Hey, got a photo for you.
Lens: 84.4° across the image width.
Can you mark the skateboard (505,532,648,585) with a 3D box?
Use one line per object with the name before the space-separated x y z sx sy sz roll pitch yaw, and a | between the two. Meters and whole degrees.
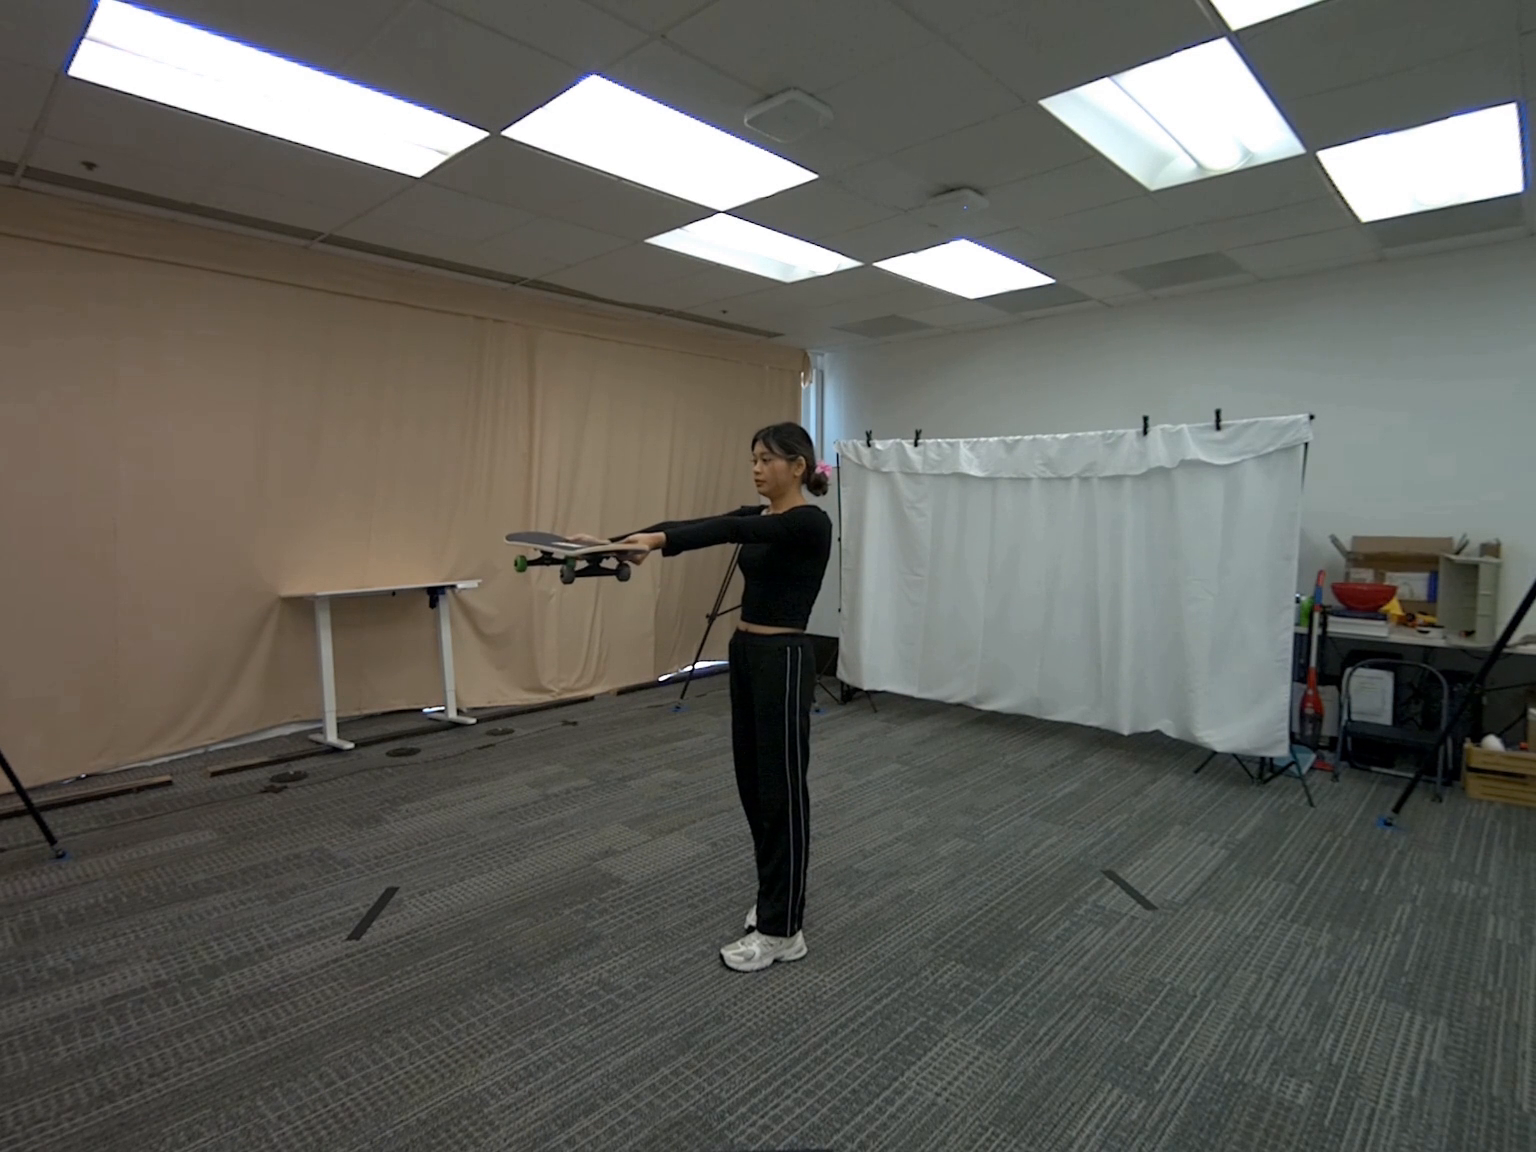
skateboard | -0.542 -0.057 2.323 0.188 0.110 0.810 -4 8 -33
